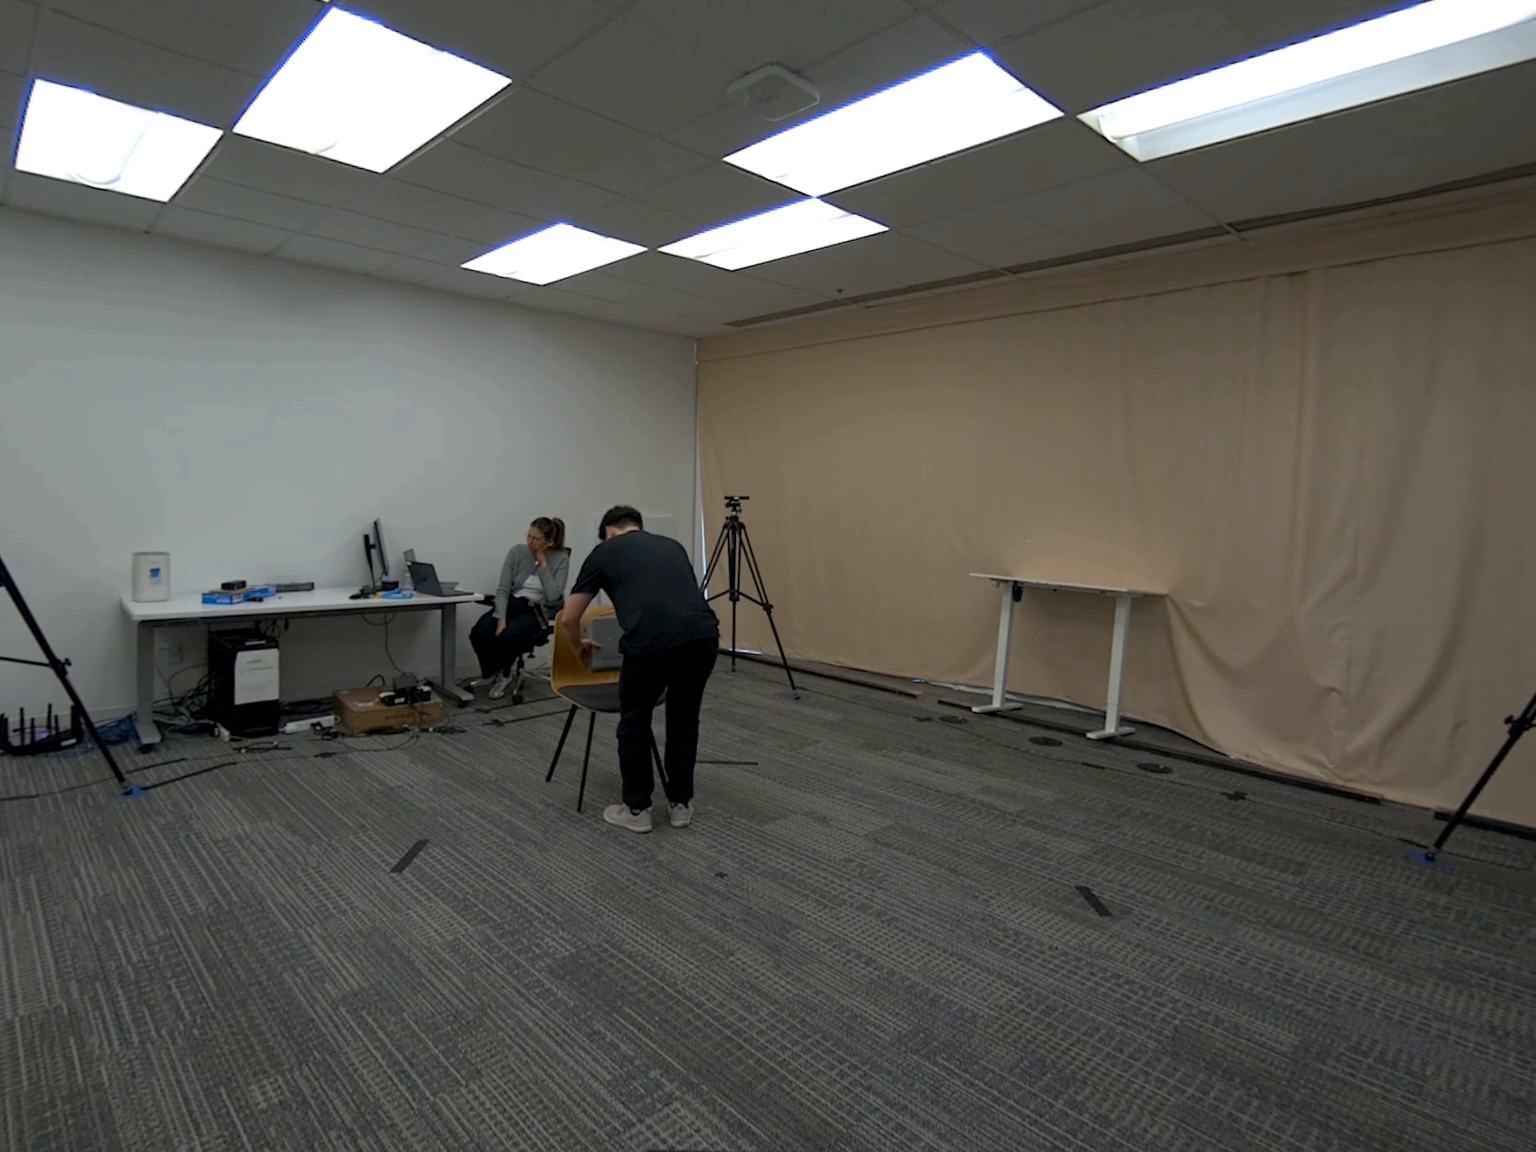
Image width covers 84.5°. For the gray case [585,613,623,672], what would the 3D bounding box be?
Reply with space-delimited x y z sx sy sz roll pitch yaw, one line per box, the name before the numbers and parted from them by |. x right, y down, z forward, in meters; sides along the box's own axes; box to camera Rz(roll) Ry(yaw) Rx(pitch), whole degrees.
gray case | -0.731 0.306 3.926 0.253 0.264 0.104 -1 -19 -21
